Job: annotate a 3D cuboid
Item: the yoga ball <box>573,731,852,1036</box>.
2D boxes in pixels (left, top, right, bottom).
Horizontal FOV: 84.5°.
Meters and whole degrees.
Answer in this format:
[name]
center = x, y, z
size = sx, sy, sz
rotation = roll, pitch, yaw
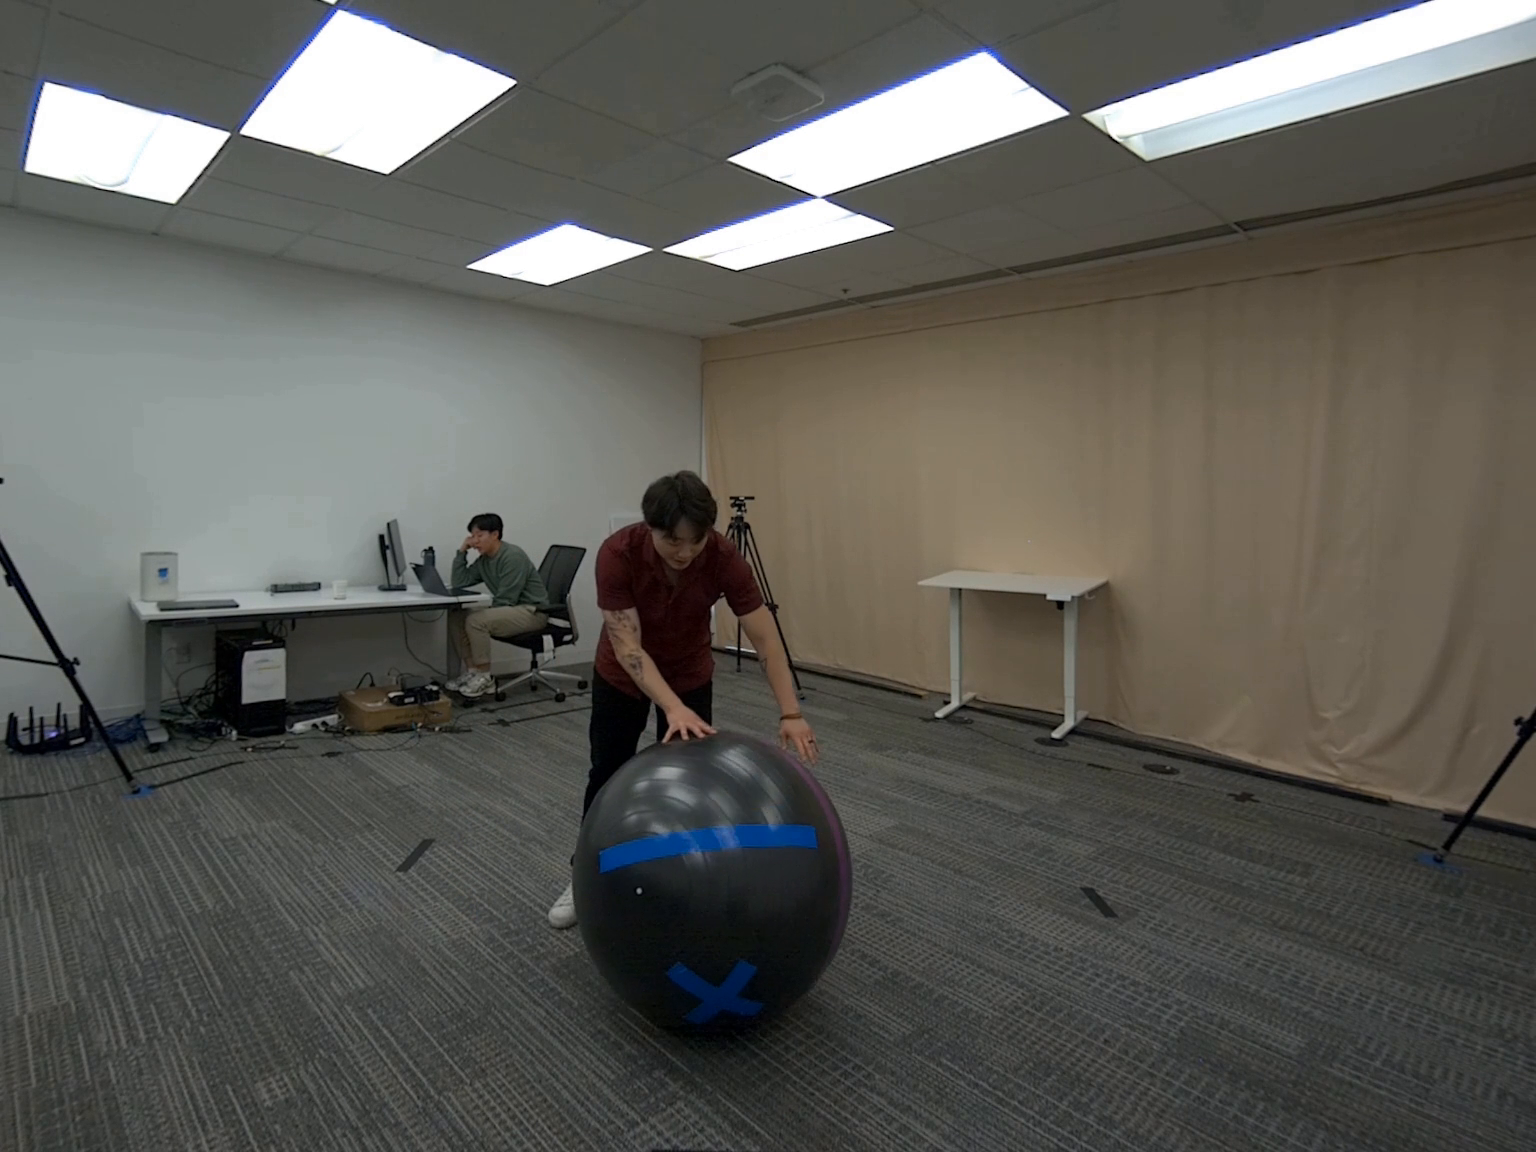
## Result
[yoga ball]
center = -0.156, 0.820, 2.289
size = 0.757, 0.756, 0.761
rotation = 1, 4, -1
